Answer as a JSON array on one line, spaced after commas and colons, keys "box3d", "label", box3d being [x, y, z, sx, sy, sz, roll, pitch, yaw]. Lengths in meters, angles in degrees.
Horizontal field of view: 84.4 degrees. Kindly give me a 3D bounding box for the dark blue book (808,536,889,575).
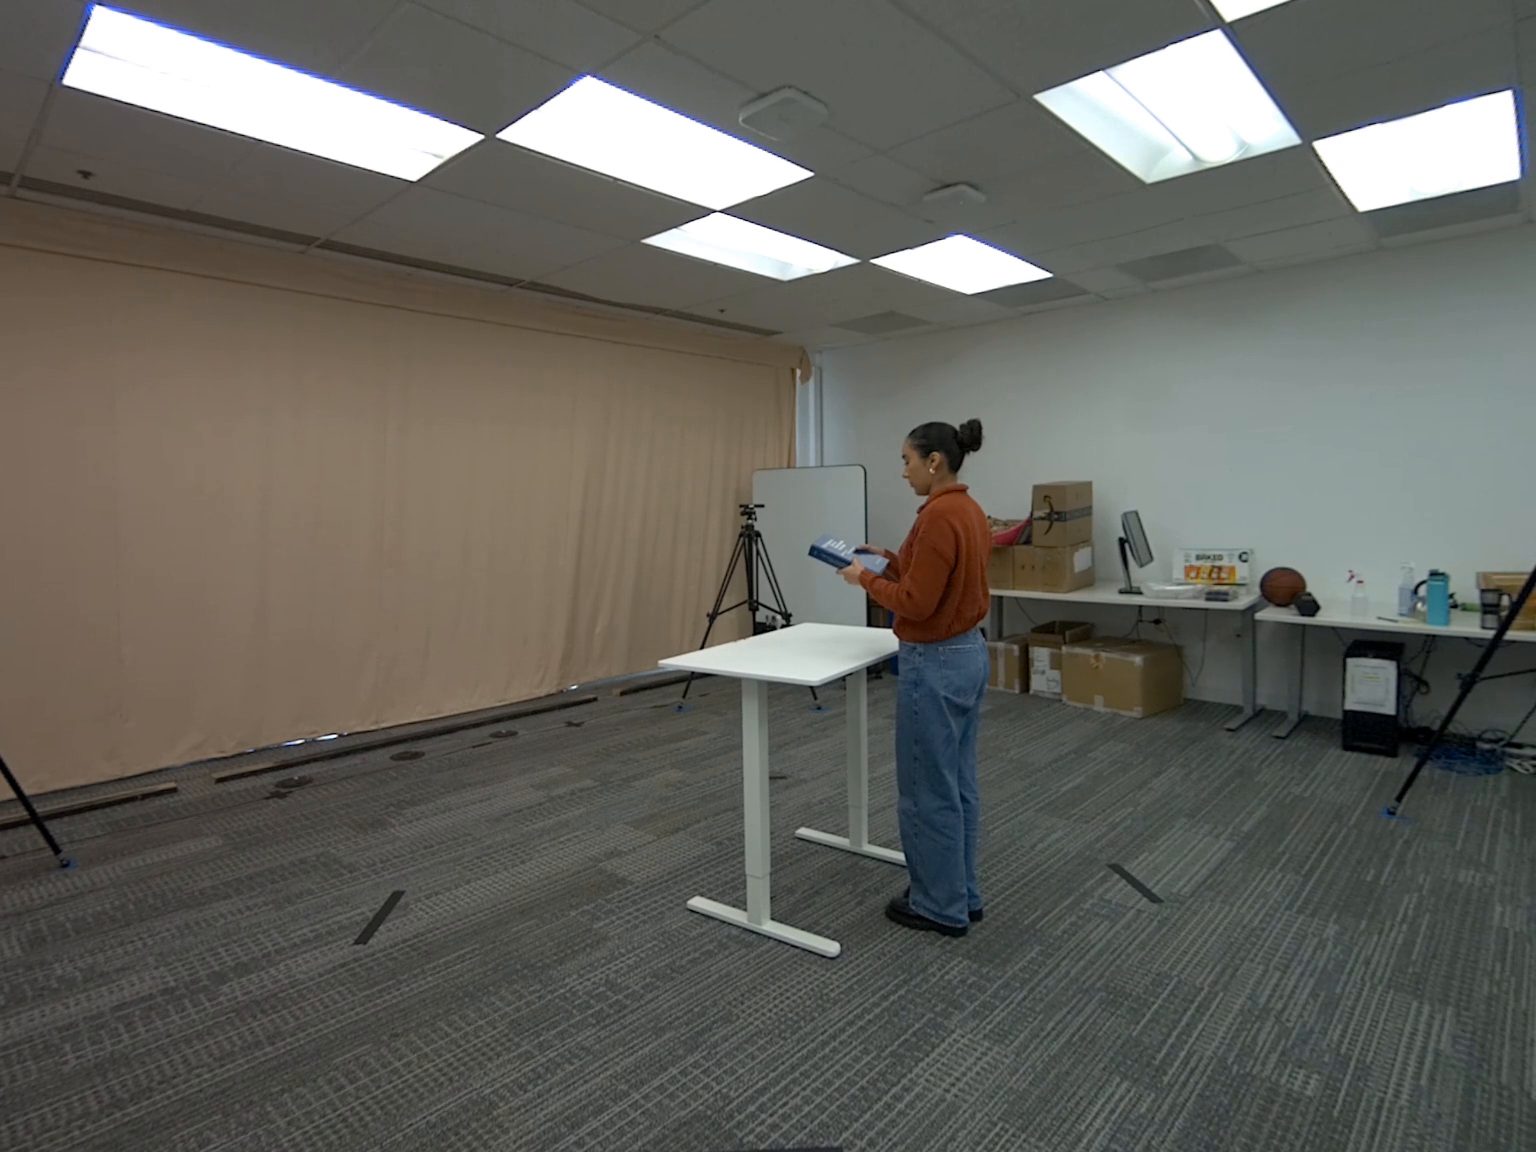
[{"box3d": [0.282, -0.062, 2.871, 0.250, 0.045, 0.161, 23, 25, 16], "label": "dark blue book"}]
